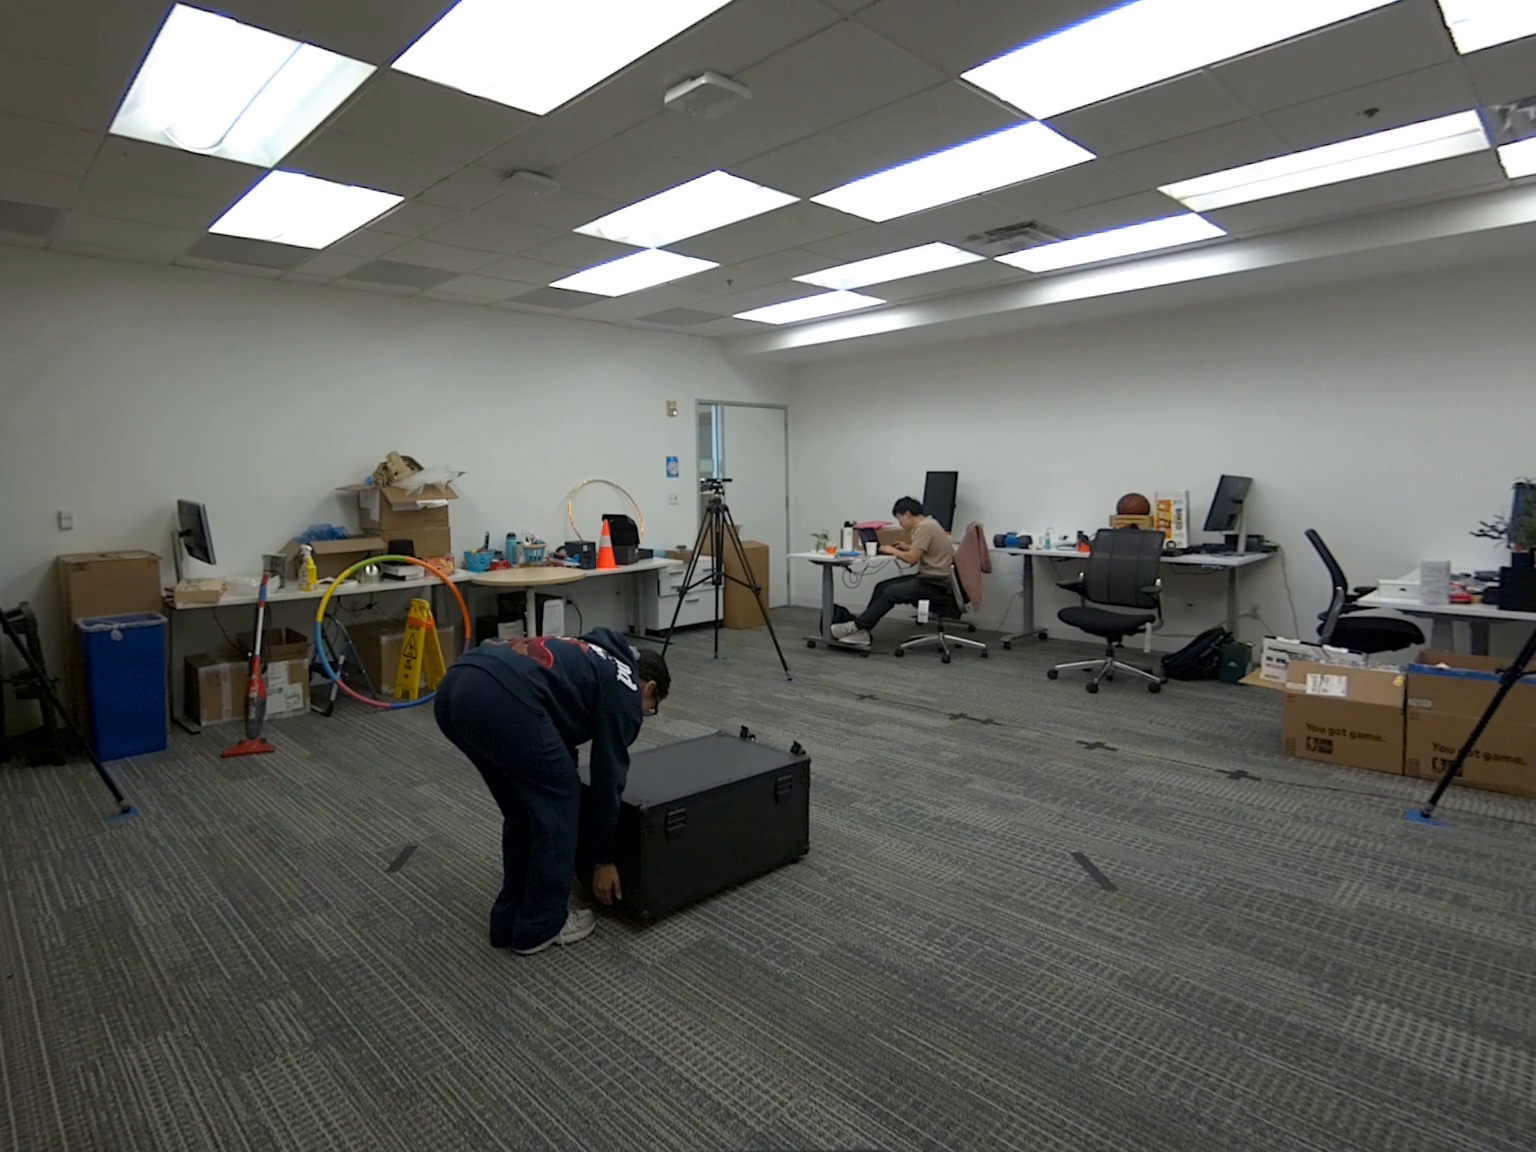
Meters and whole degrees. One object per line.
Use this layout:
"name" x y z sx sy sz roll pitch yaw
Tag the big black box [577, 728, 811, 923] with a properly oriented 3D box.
"big black box" -0.258 0.852 3.063 0.839 0.394 0.538 -6 8 -45
